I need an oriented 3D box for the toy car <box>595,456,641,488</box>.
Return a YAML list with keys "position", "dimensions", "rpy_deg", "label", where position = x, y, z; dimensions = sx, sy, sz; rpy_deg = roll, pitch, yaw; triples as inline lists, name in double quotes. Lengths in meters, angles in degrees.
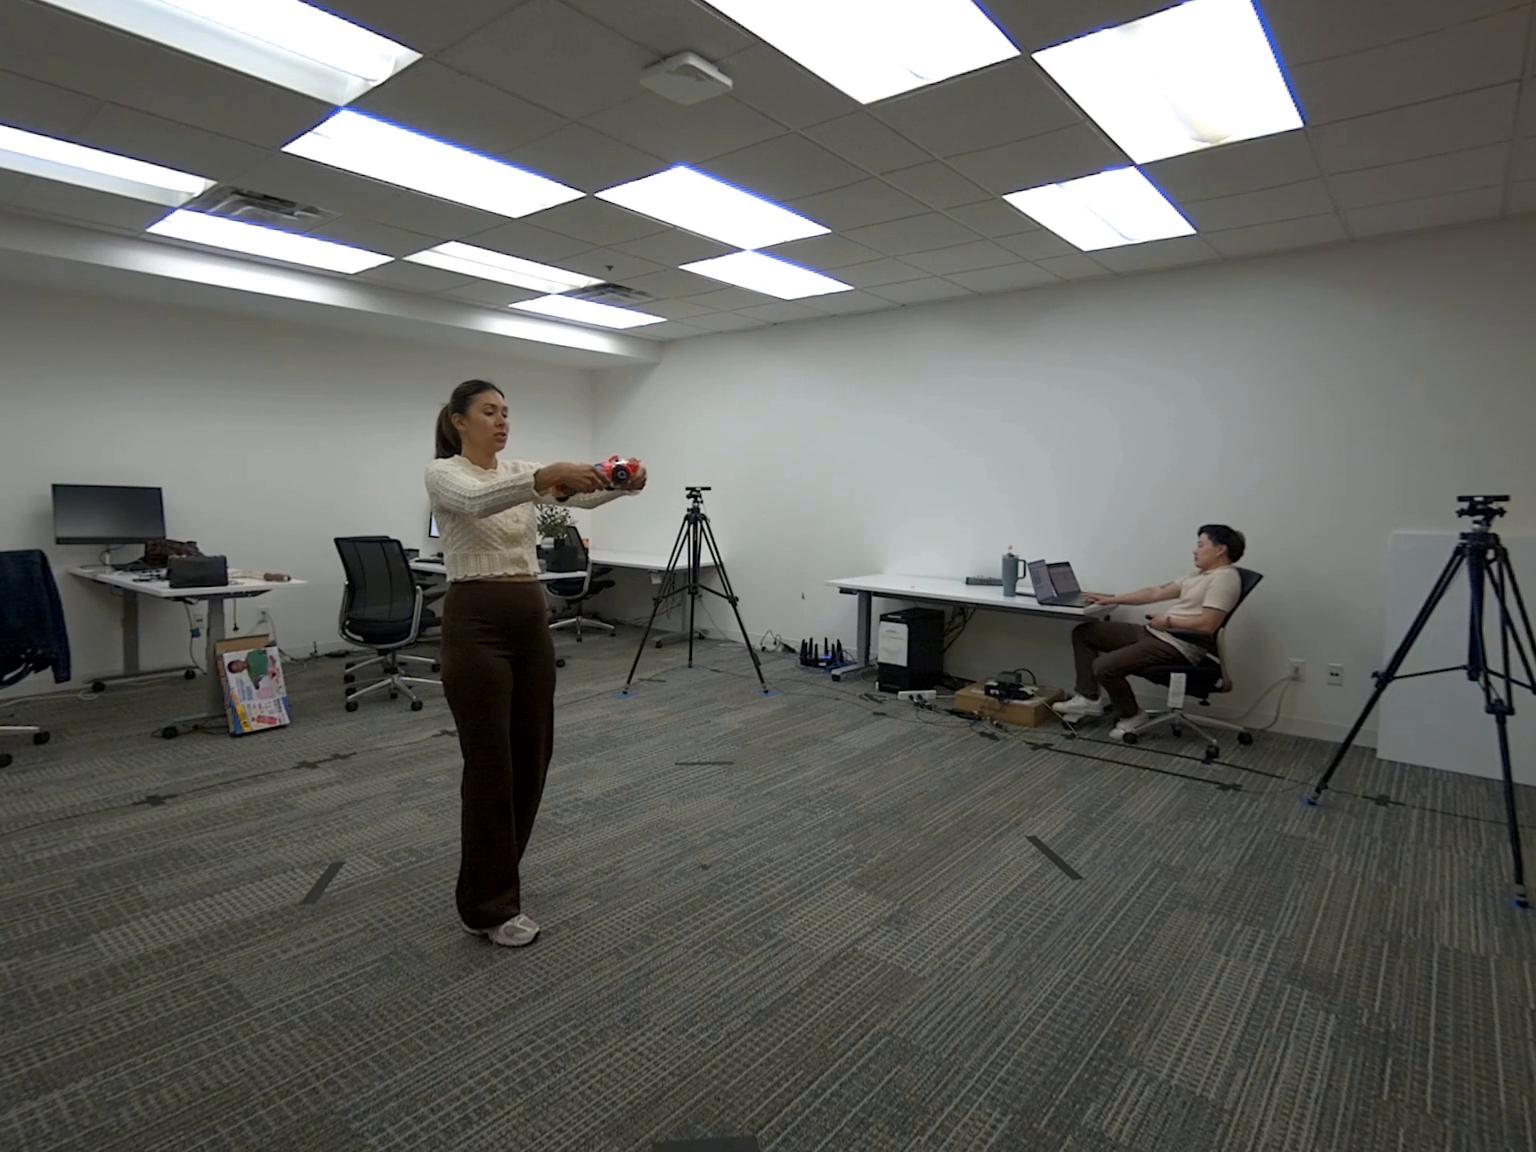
- position: [-0.468, -0.268, 2.312]
  dimensions: [0.251, 0.083, 0.132]
  rpy_deg: [-28, 5, -28]
  label: "toy car"
